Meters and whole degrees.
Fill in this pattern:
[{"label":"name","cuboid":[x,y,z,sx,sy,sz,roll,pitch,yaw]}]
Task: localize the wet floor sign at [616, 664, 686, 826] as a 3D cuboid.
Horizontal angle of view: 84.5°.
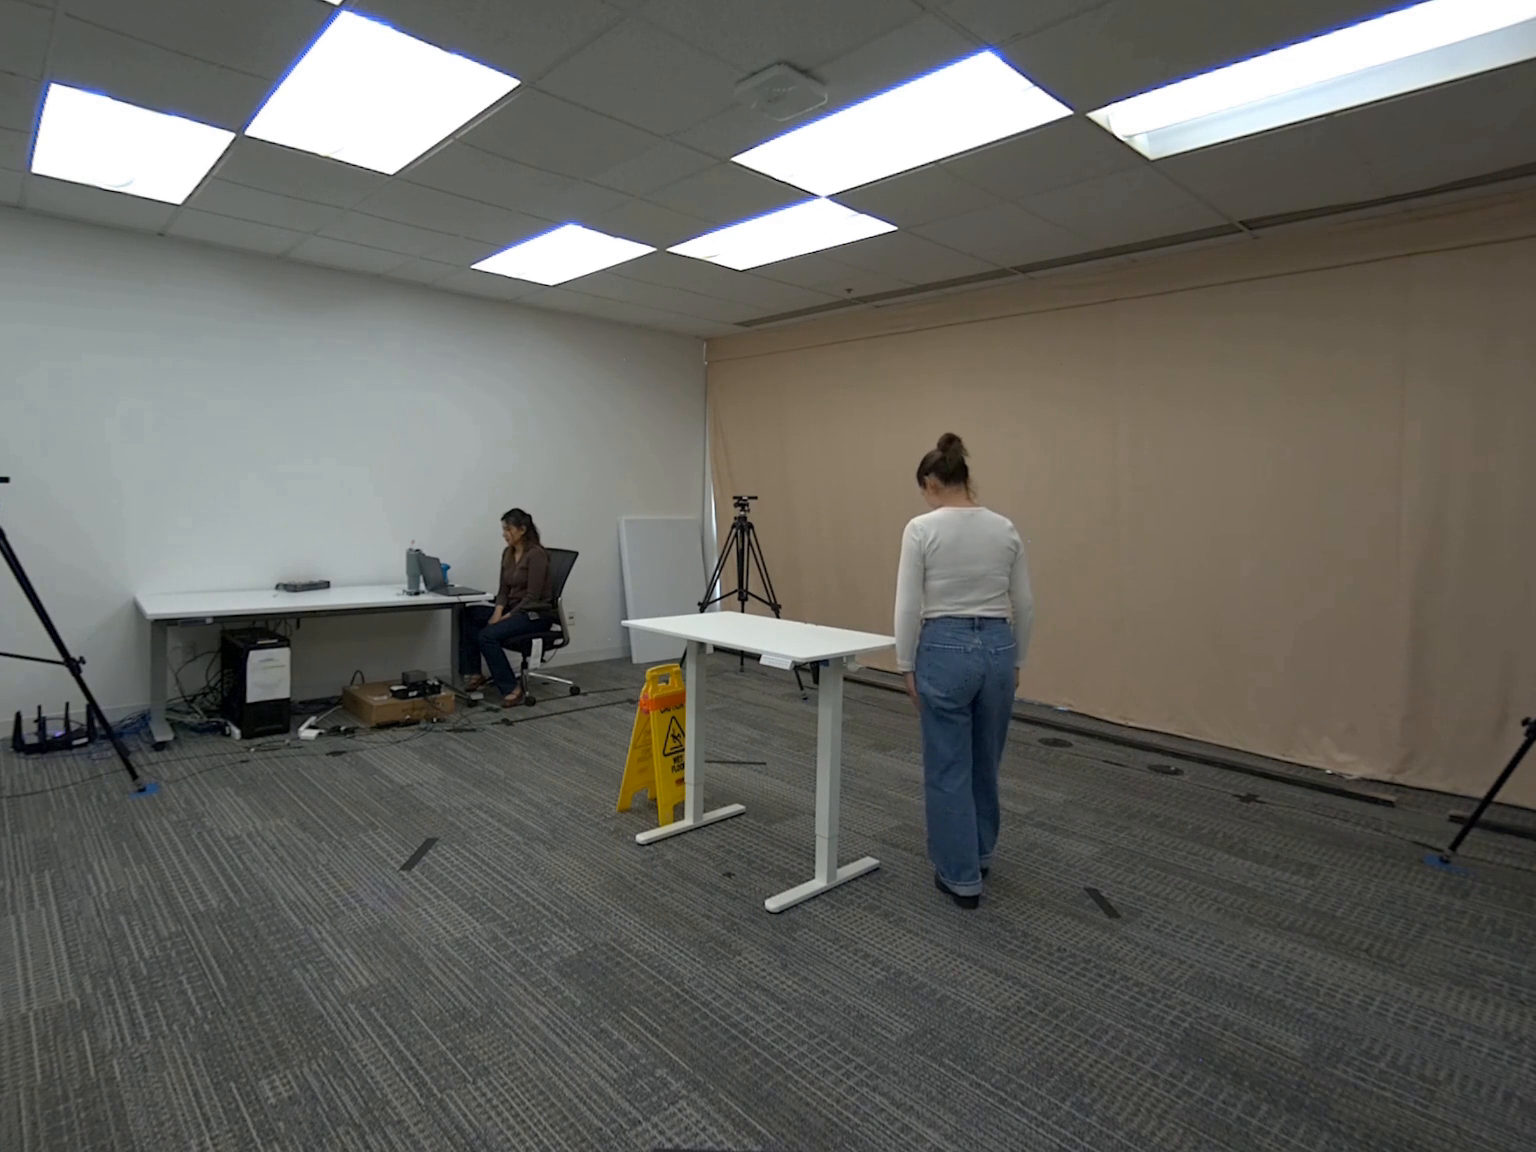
[{"label":"wet floor sign","cuboid":[-0.477,0.721,3.710,0.297,0.645,0.276,3,2,38]}]
